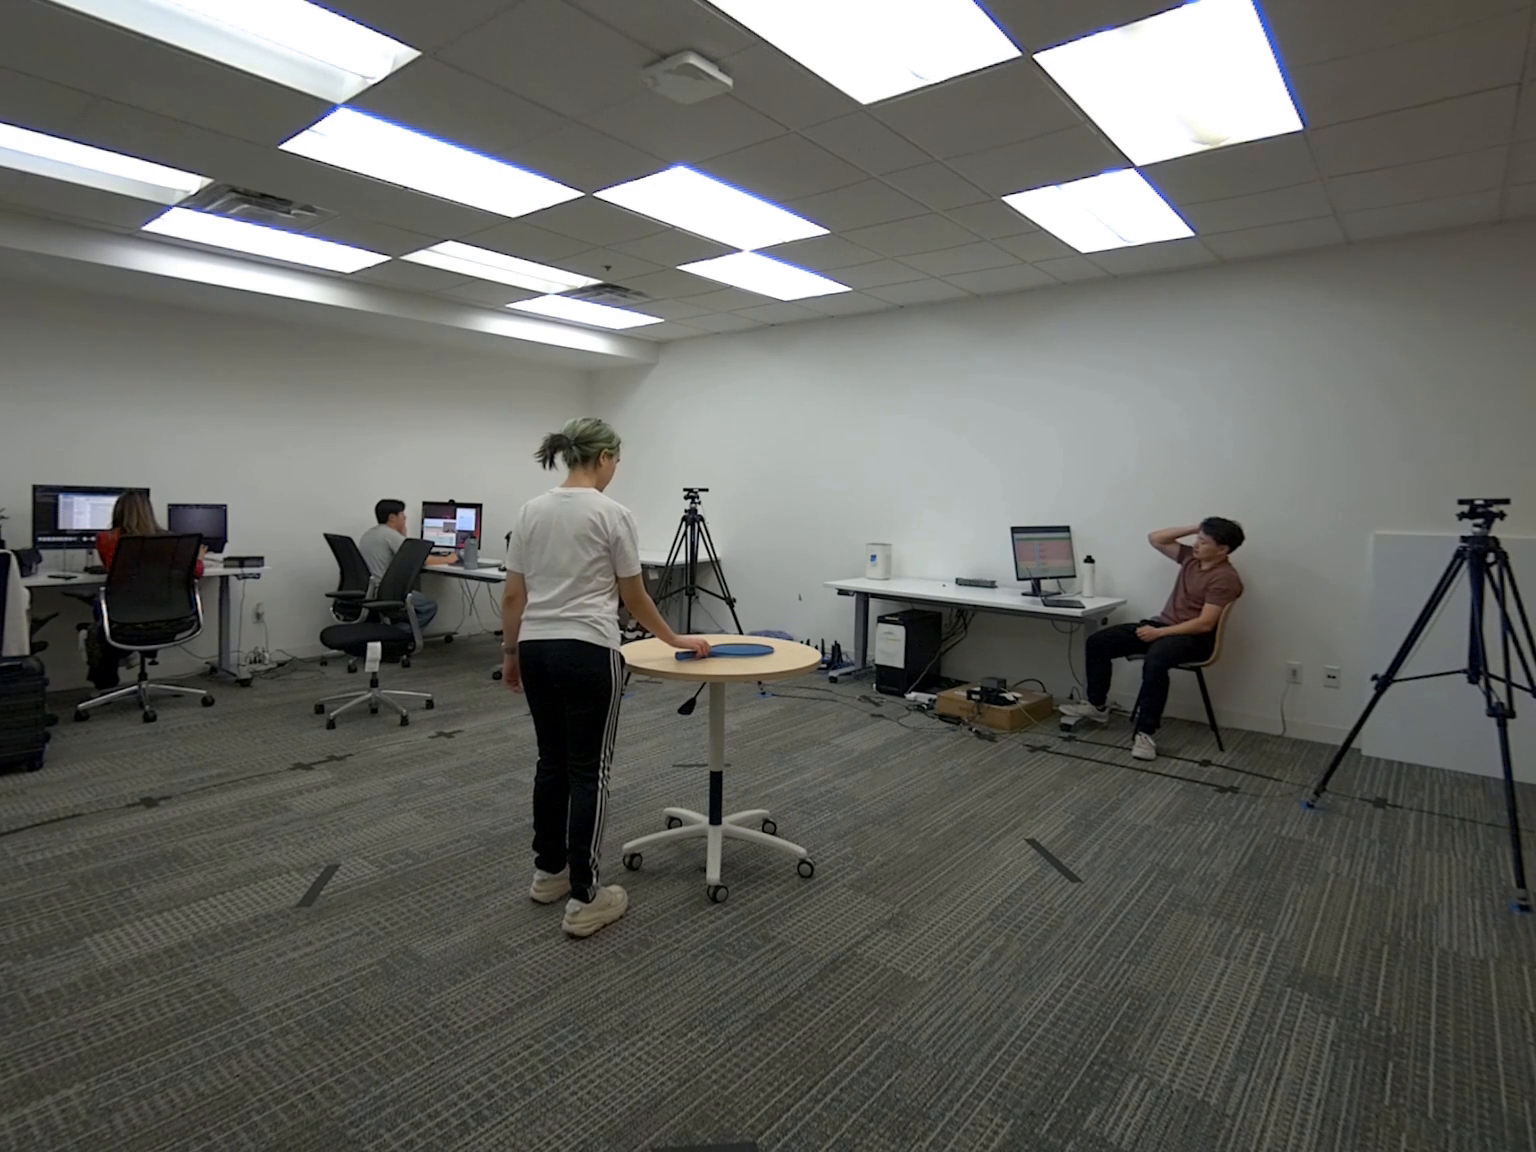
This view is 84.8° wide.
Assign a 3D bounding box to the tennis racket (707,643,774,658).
[{"bbox_3d":[-0.164,0.276,3.118,0.420,0.031,0.221,-2,6,-38],"label":"tennis racket"}]
